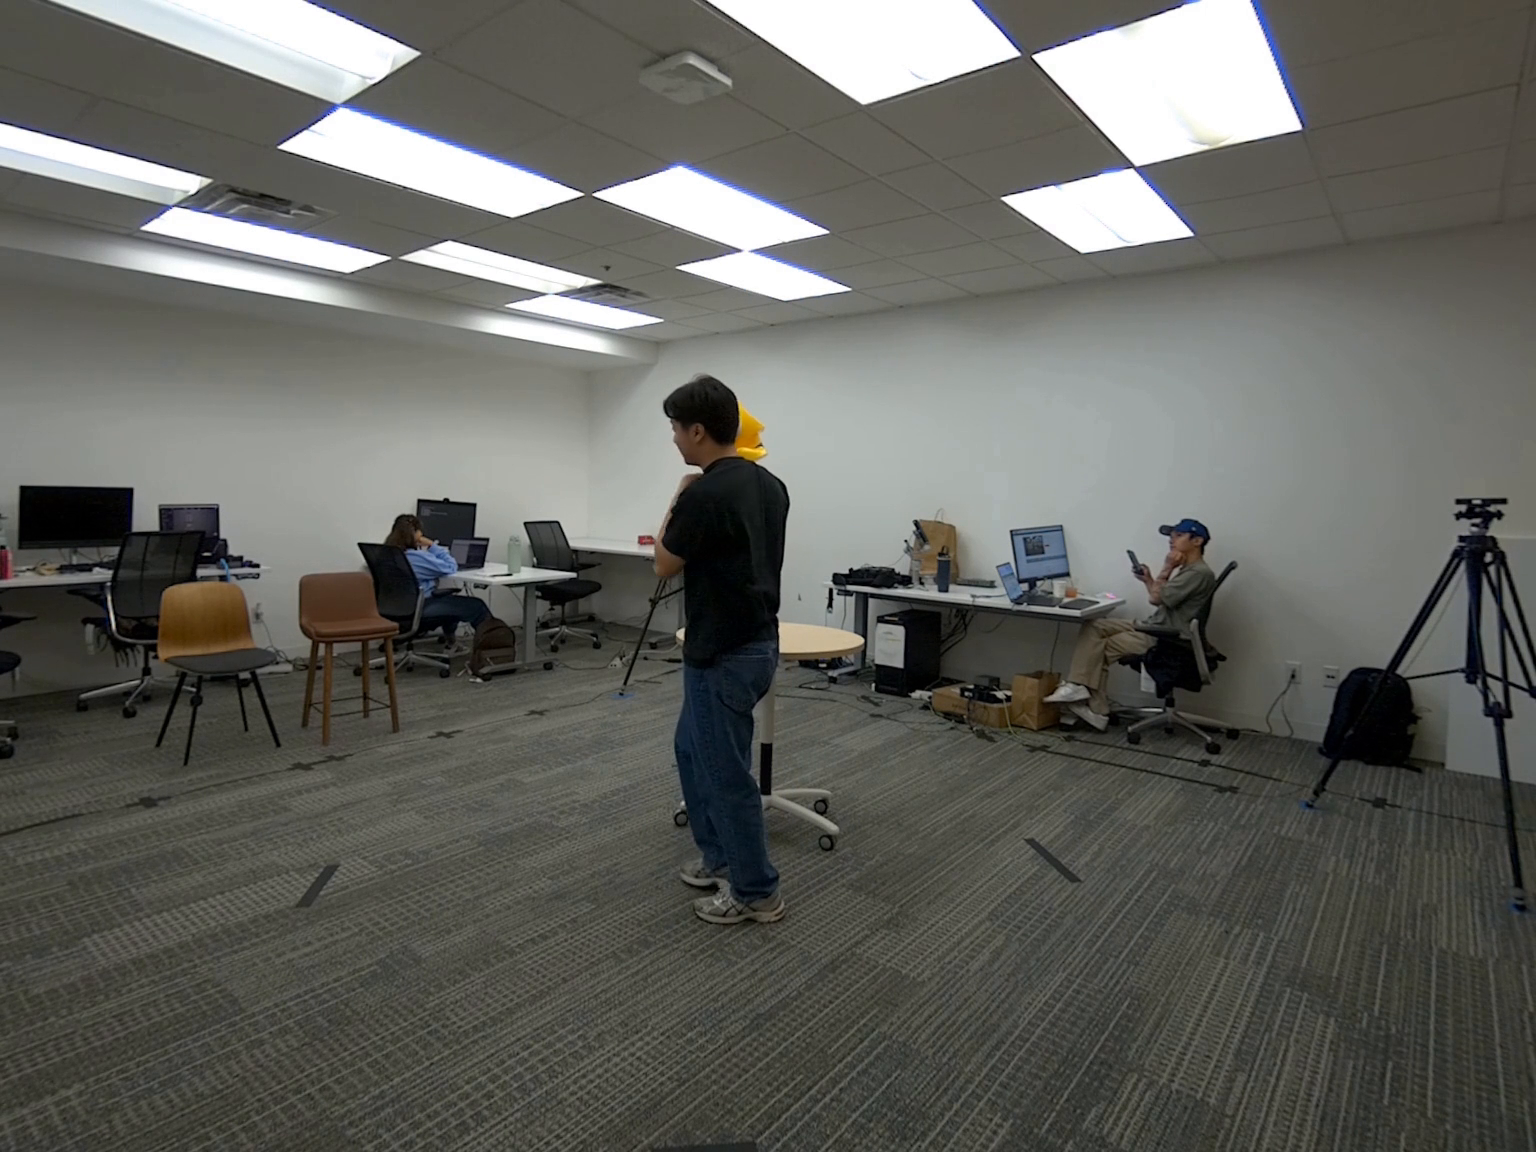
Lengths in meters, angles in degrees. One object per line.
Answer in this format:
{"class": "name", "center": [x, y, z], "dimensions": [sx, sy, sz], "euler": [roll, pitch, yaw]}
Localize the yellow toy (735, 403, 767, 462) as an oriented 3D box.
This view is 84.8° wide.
{"class": "yellow toy", "center": [-0.128, -0.479, 2.836], "dimensions": [0.192, 0.230, 0.206], "euler": [-27, 4, -5]}
